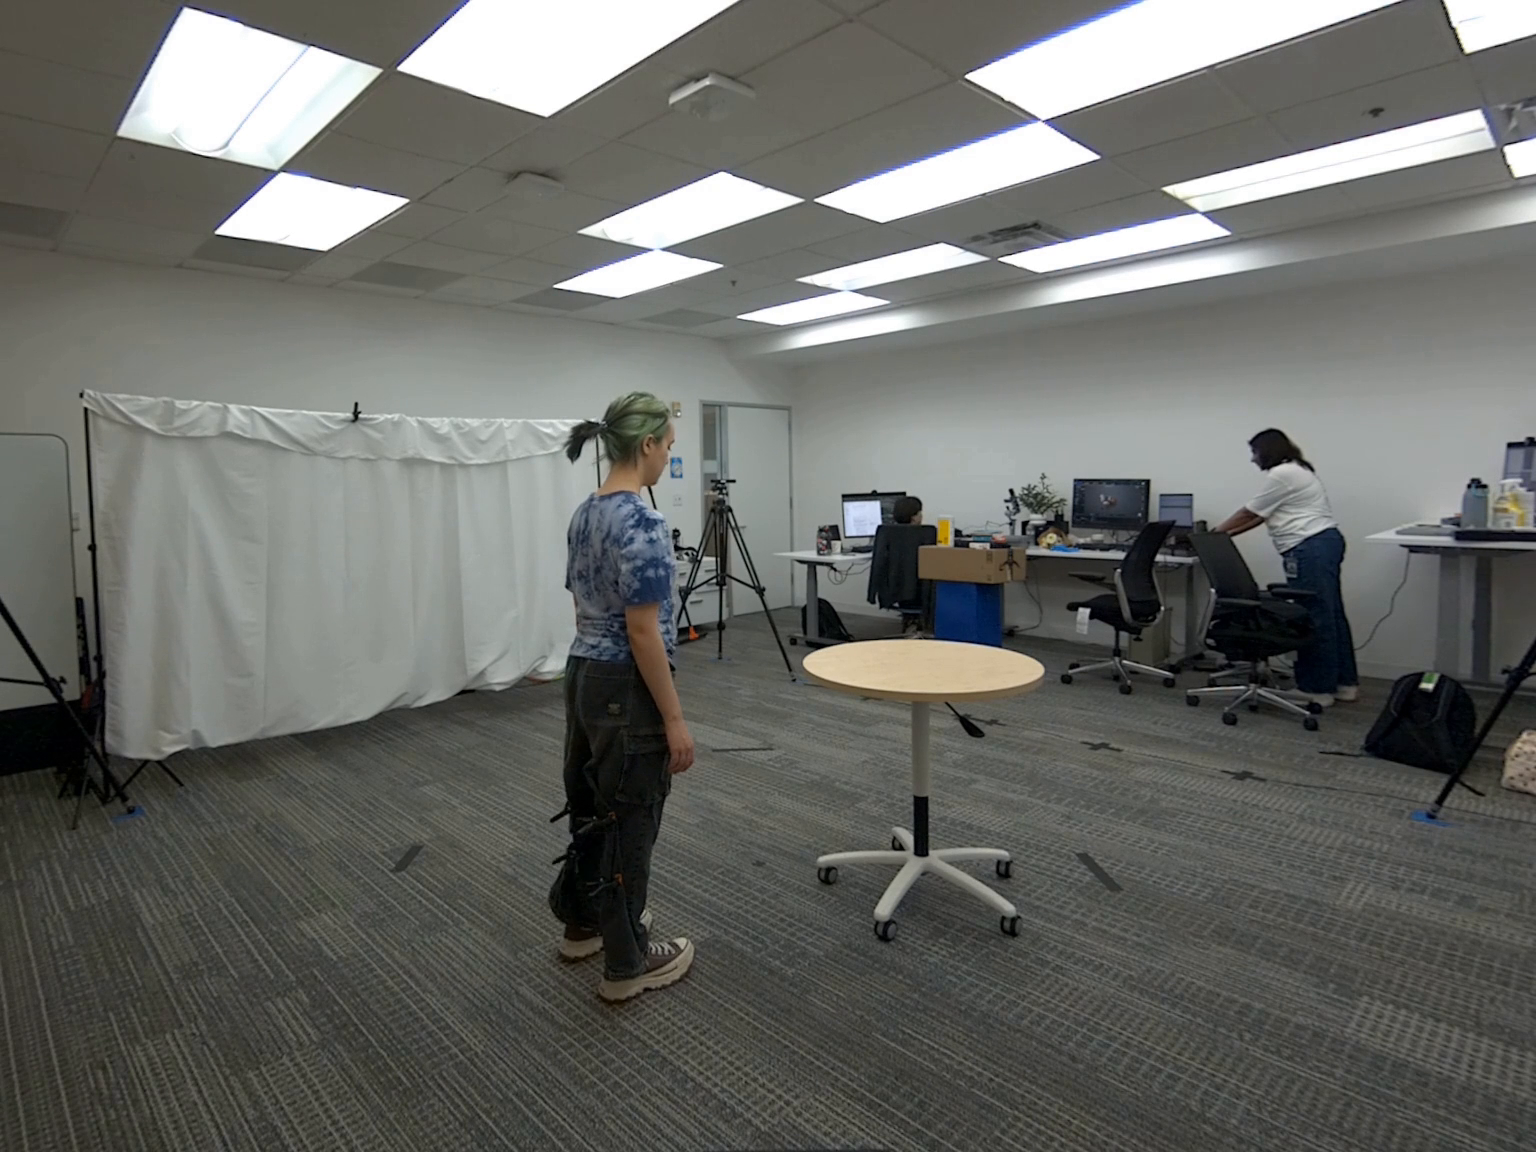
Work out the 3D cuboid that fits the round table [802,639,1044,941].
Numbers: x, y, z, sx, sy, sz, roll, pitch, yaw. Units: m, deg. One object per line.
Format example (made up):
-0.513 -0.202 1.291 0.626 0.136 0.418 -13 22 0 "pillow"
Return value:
0.516 0.682 2.826 0.763 0.791 0.768 -1 5 -2 "round table"
